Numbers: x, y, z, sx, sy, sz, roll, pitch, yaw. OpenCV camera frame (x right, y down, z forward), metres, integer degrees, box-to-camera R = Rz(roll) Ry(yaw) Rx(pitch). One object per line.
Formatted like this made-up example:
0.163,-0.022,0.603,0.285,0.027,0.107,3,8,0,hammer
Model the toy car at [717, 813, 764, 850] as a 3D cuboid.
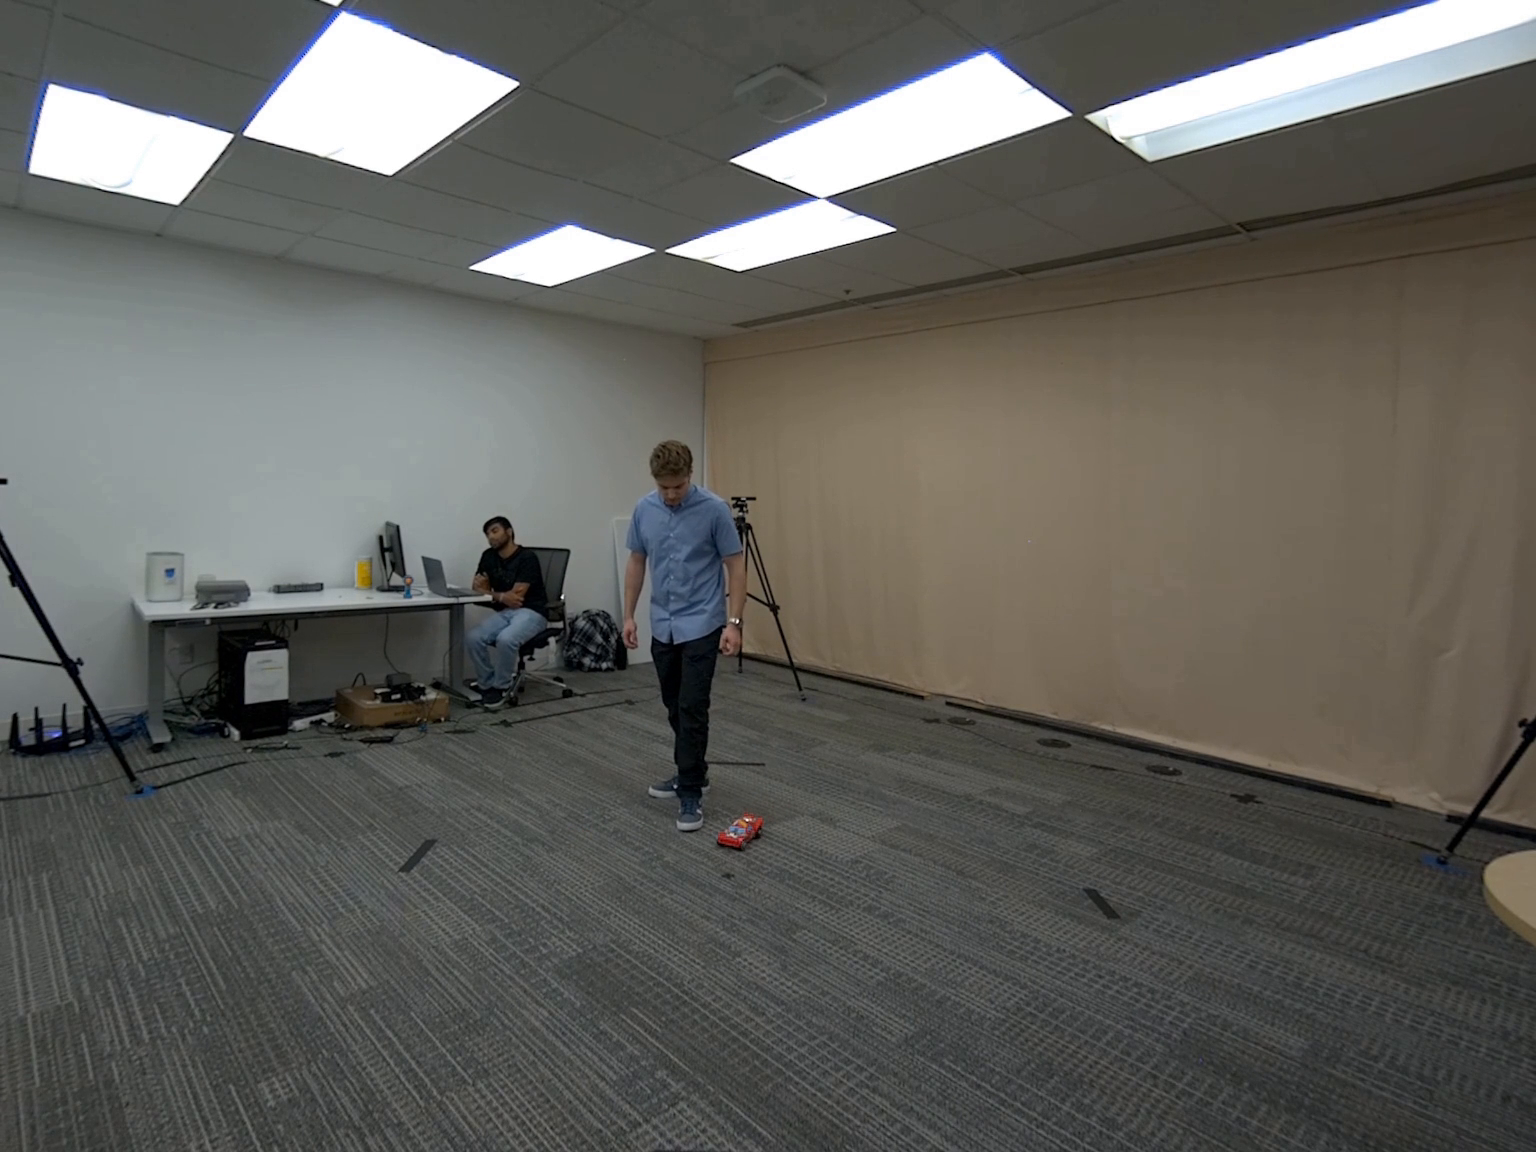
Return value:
-0.114,1.045,3.442,0.133,0.082,0.252,3,16,25,toy car
